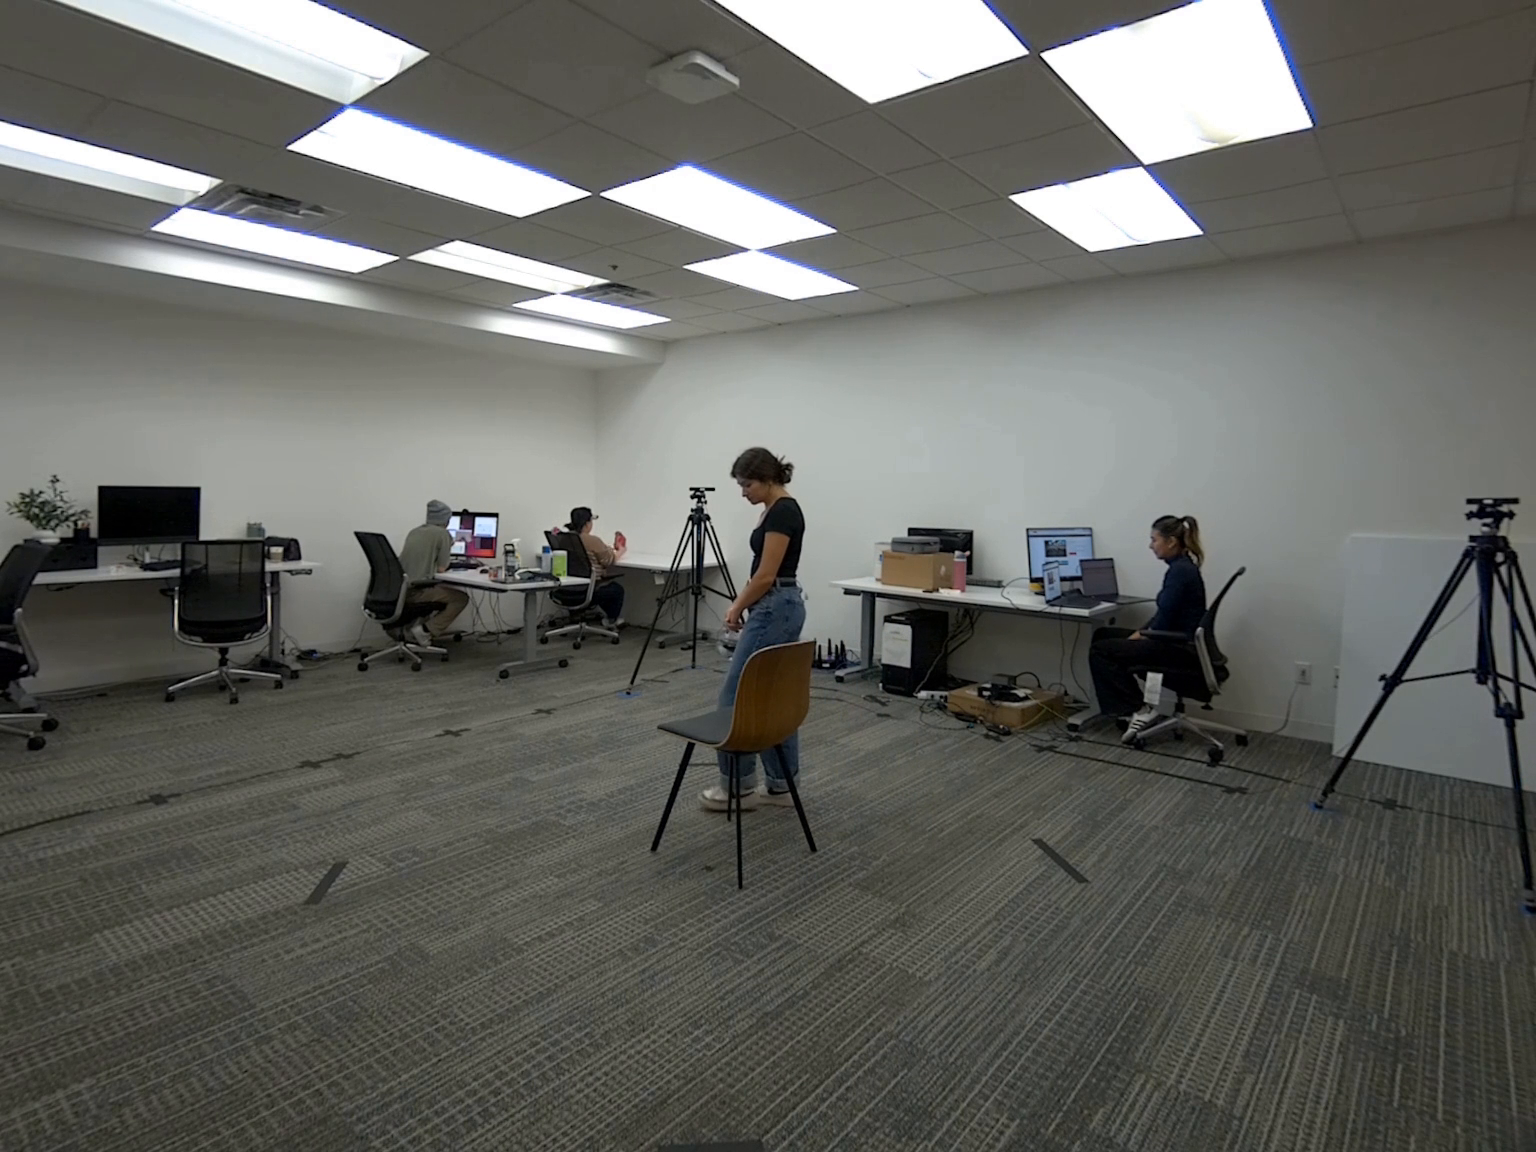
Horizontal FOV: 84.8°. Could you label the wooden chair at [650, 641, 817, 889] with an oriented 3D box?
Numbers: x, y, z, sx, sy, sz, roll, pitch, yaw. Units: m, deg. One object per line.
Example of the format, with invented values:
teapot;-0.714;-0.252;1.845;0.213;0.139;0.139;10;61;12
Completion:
wooden chair;-0.135;0.629;3.239;0.542;0.873;0.463;10;8;40
